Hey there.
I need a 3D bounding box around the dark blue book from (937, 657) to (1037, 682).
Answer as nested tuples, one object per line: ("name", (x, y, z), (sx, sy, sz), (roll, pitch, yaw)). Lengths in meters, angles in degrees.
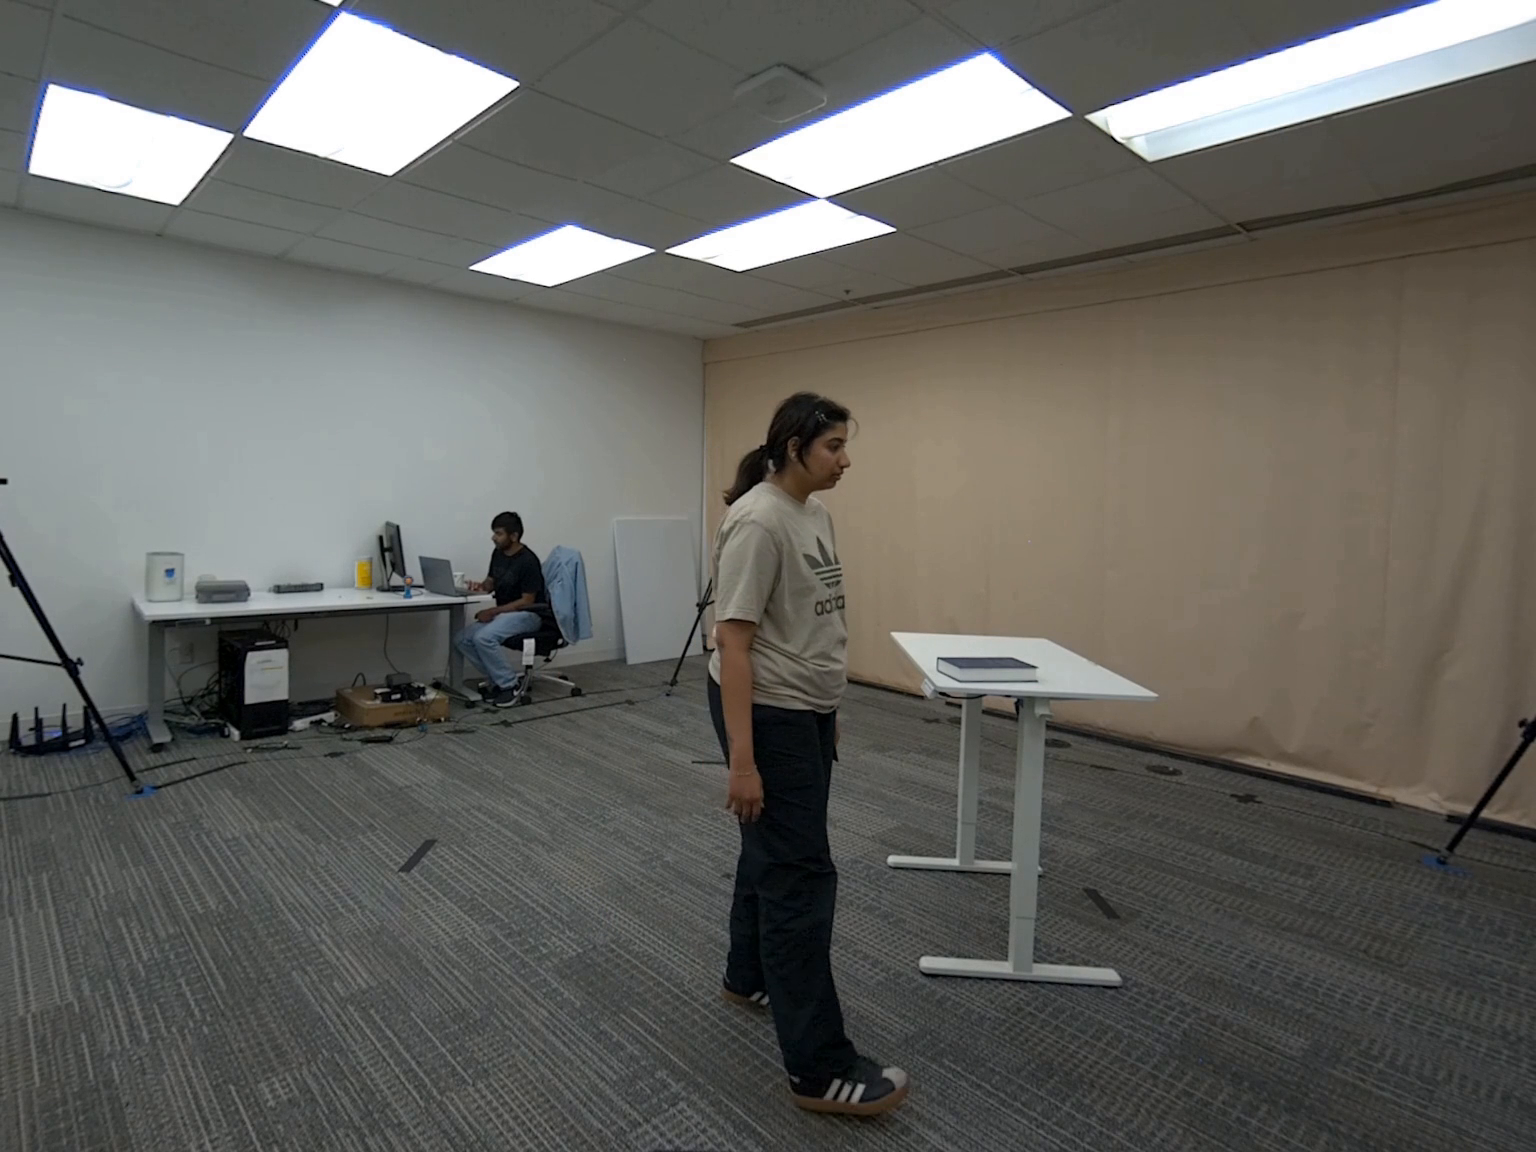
("dark blue book", (0.653, 0.280, 2.488), (0.243, 0.045, 0.165), (2, 5, -11))
